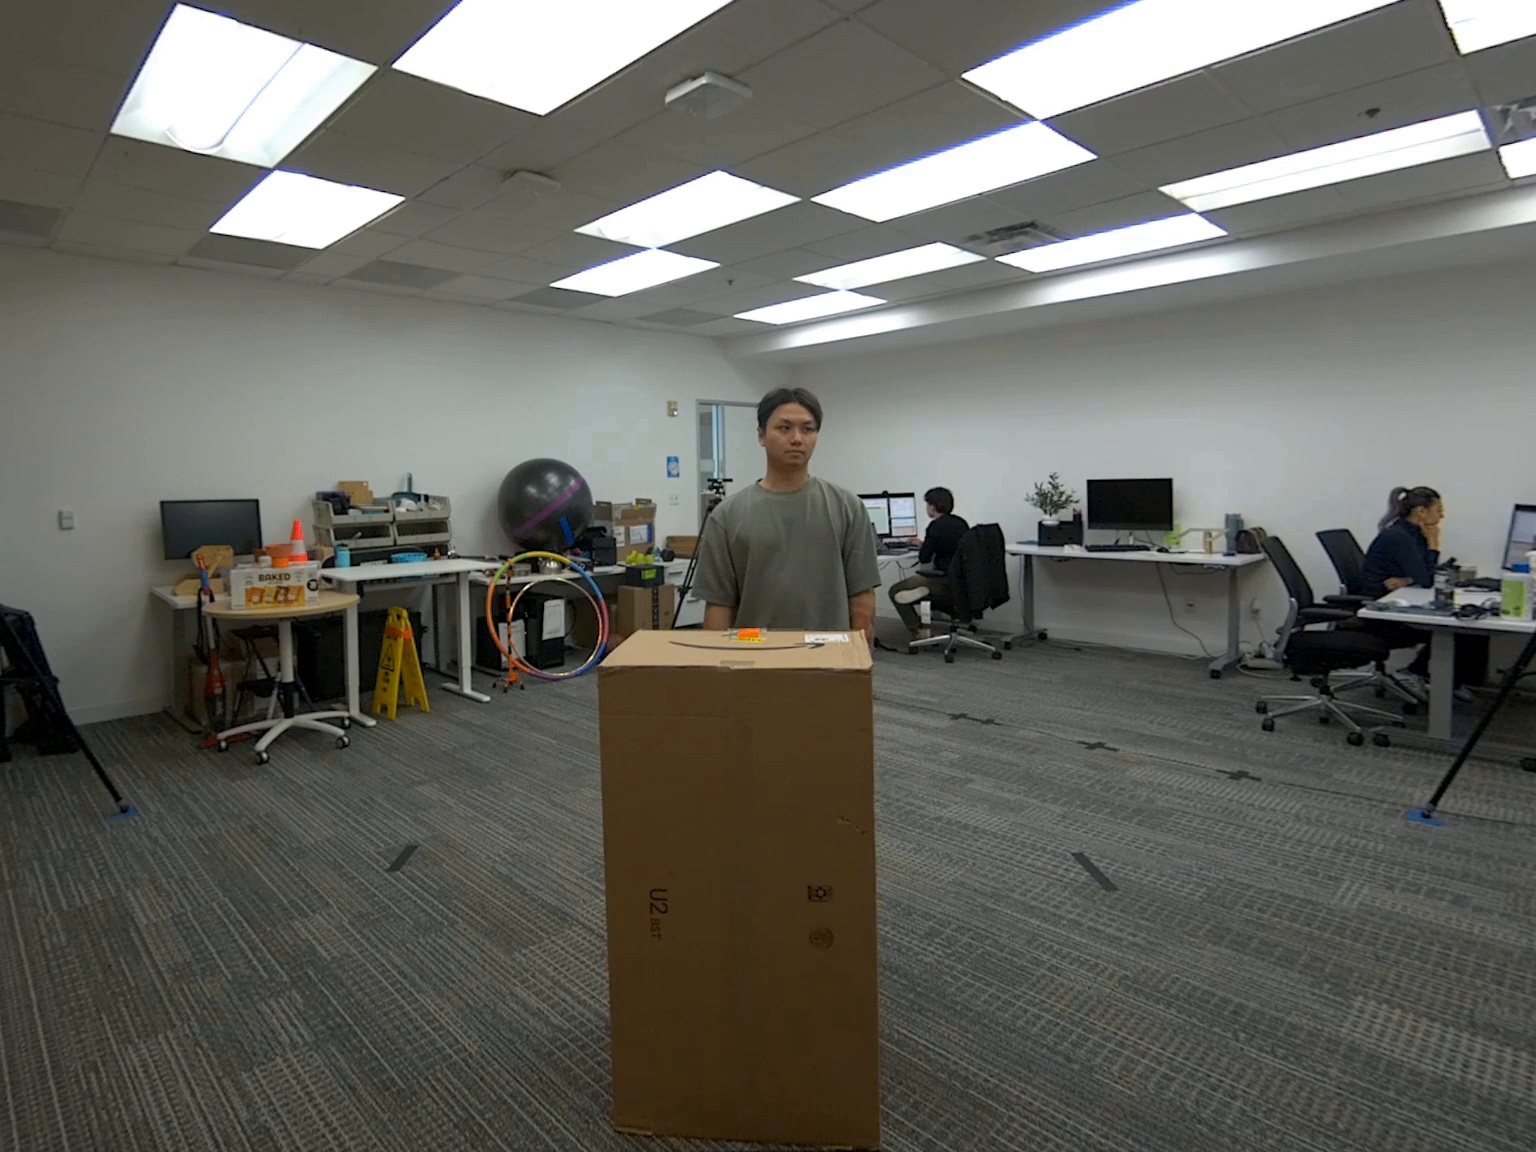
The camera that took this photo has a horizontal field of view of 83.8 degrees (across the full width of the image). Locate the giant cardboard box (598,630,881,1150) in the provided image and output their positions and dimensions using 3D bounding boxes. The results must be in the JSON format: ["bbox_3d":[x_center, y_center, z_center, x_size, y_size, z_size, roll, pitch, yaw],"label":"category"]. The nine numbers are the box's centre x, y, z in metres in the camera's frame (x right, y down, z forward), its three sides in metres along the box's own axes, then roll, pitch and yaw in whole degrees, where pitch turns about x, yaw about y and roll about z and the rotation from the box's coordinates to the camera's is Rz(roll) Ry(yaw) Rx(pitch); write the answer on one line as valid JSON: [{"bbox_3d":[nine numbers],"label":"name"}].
[{"bbox_3d":[-0.040,0.674,1.976,0.581,1.021,0.426,-1,5,6],"label":"giant cardboard box"}]
